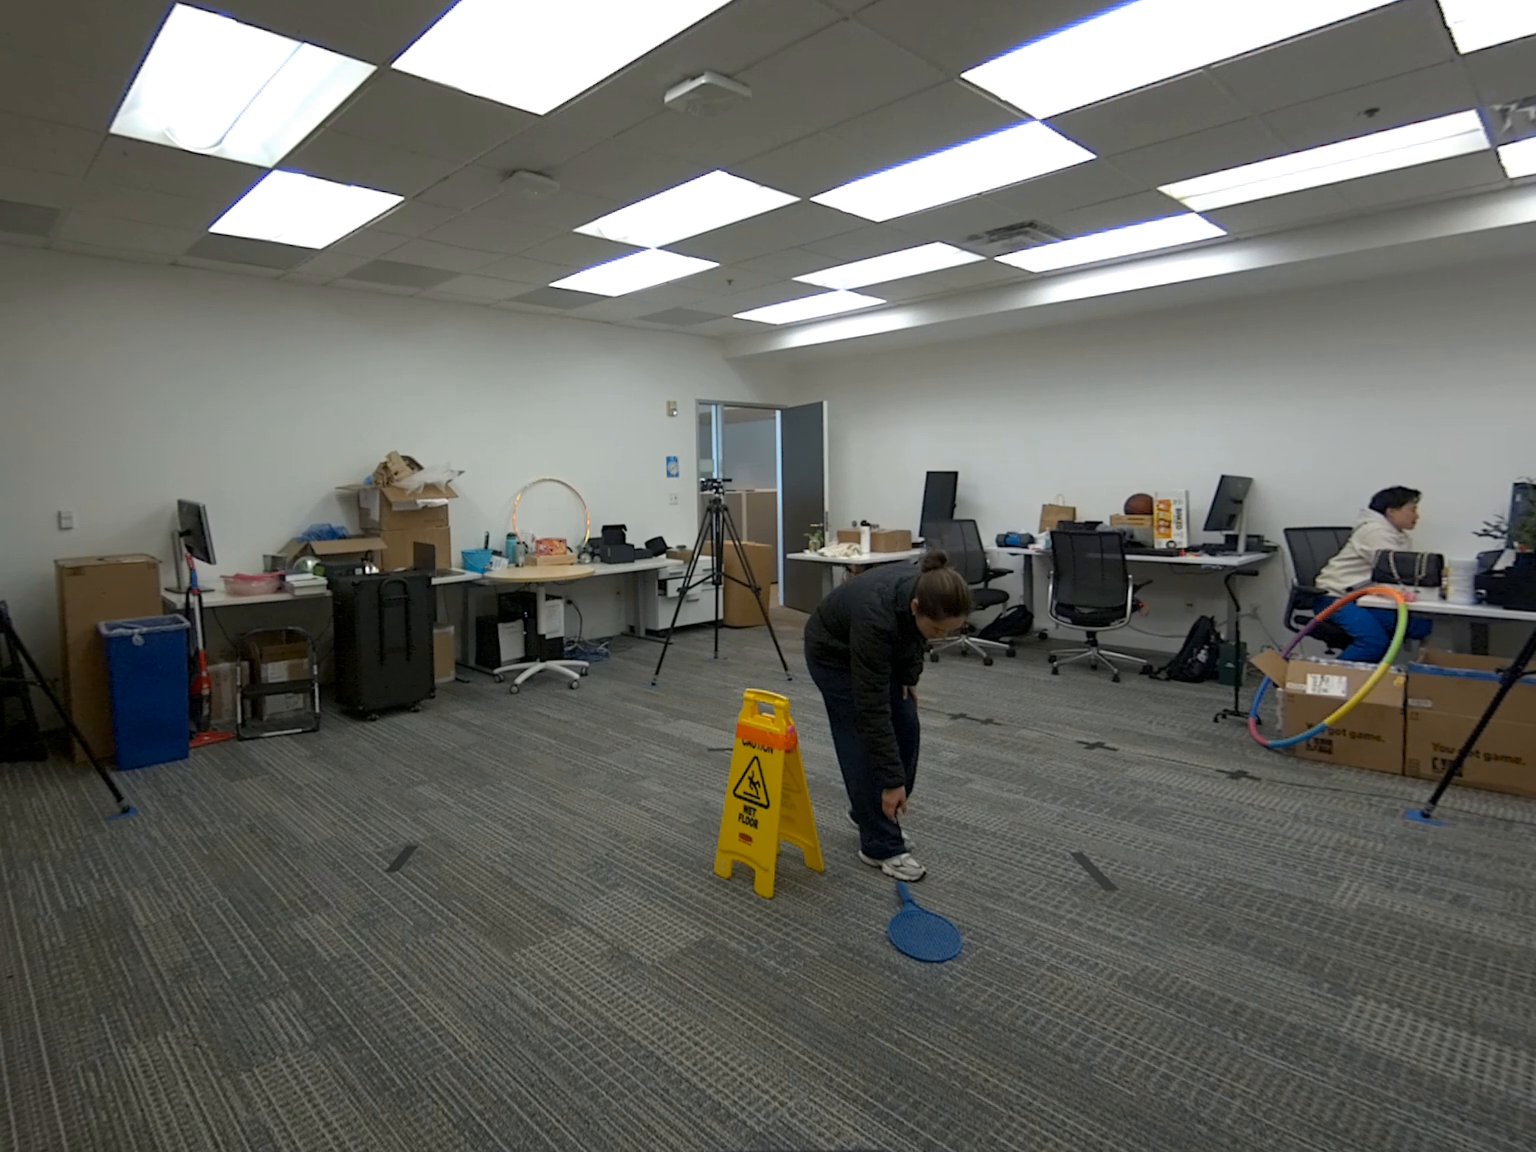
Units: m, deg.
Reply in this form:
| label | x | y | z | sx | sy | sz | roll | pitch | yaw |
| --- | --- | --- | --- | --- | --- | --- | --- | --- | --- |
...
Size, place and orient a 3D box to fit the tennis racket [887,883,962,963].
| label | x | y | z | sx | sy | sz | roll | pitch | yaw |
| --- | --- | --- | --- | --- | --- | --- | --- | --- | --- |
| tennis racket | 0.460 | 1.072 | 2.681 | 0.213 | 0.031 | 0.437 | -2 | 8 | -5 |
